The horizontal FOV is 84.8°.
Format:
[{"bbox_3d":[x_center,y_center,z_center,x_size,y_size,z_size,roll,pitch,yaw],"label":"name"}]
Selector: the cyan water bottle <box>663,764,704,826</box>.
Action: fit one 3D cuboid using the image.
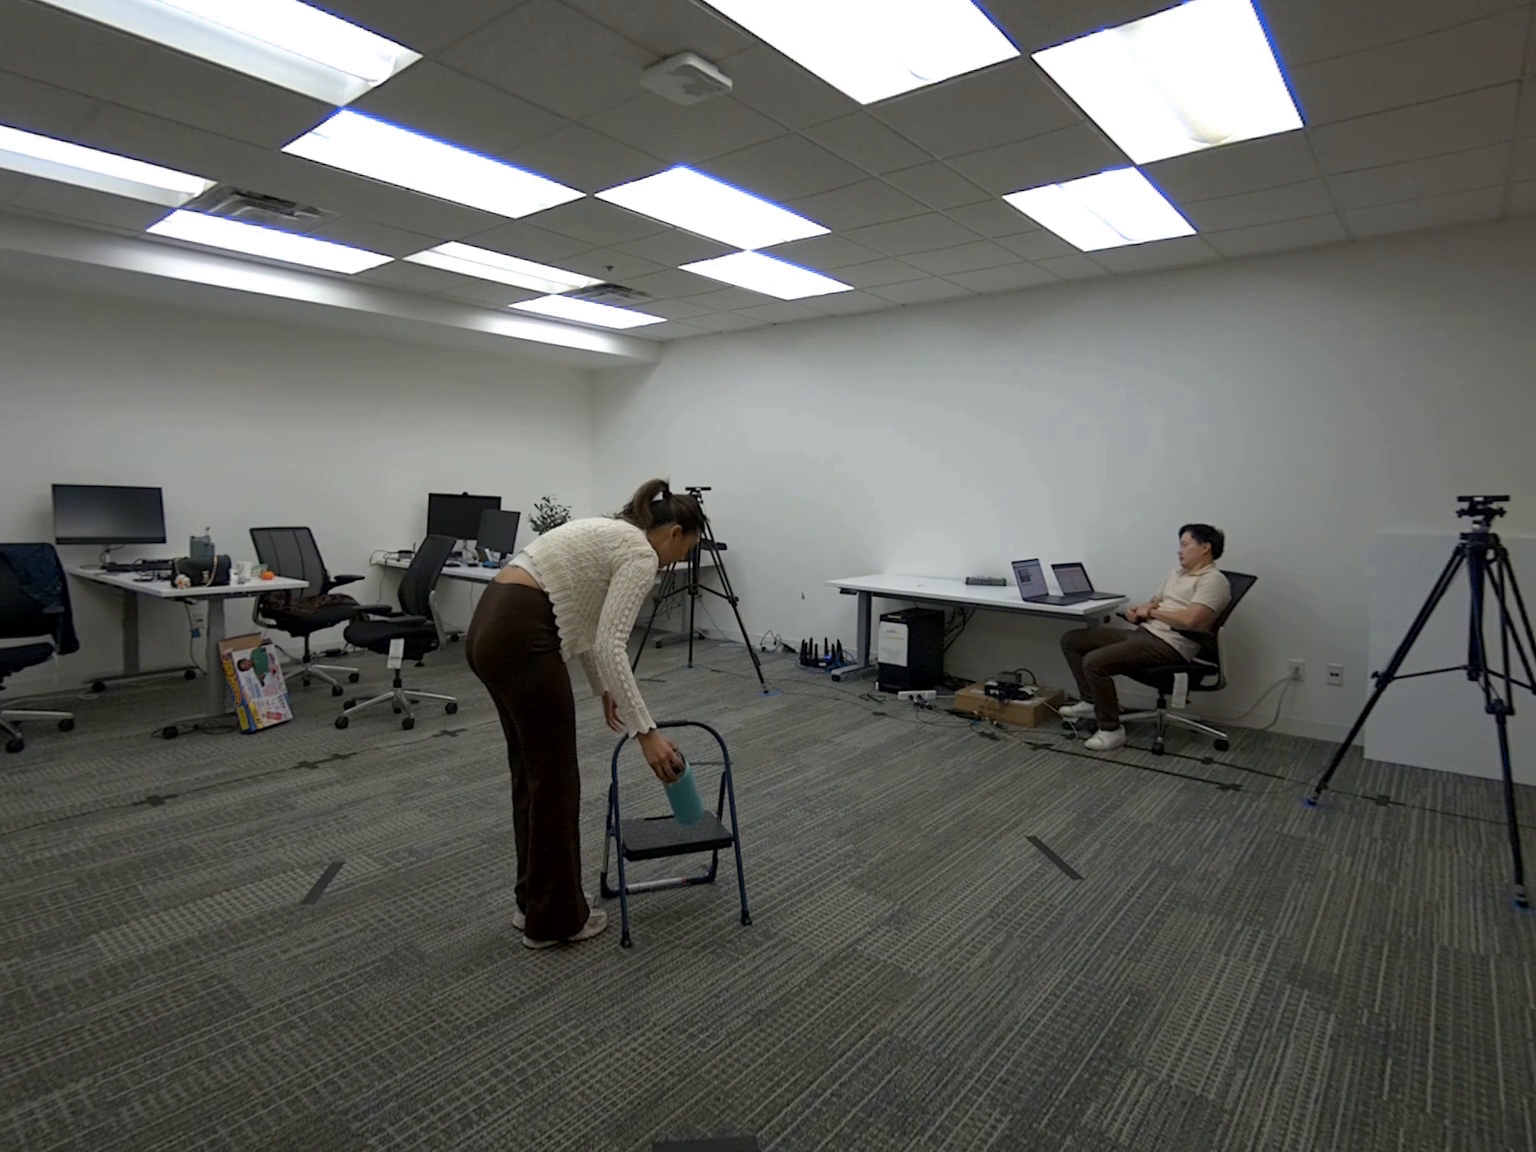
[{"bbox_3d":[-0.271,0.605,2.440,0.093,0.274,0.095,-9,39,5],"label":"cyan water bottle"}]
